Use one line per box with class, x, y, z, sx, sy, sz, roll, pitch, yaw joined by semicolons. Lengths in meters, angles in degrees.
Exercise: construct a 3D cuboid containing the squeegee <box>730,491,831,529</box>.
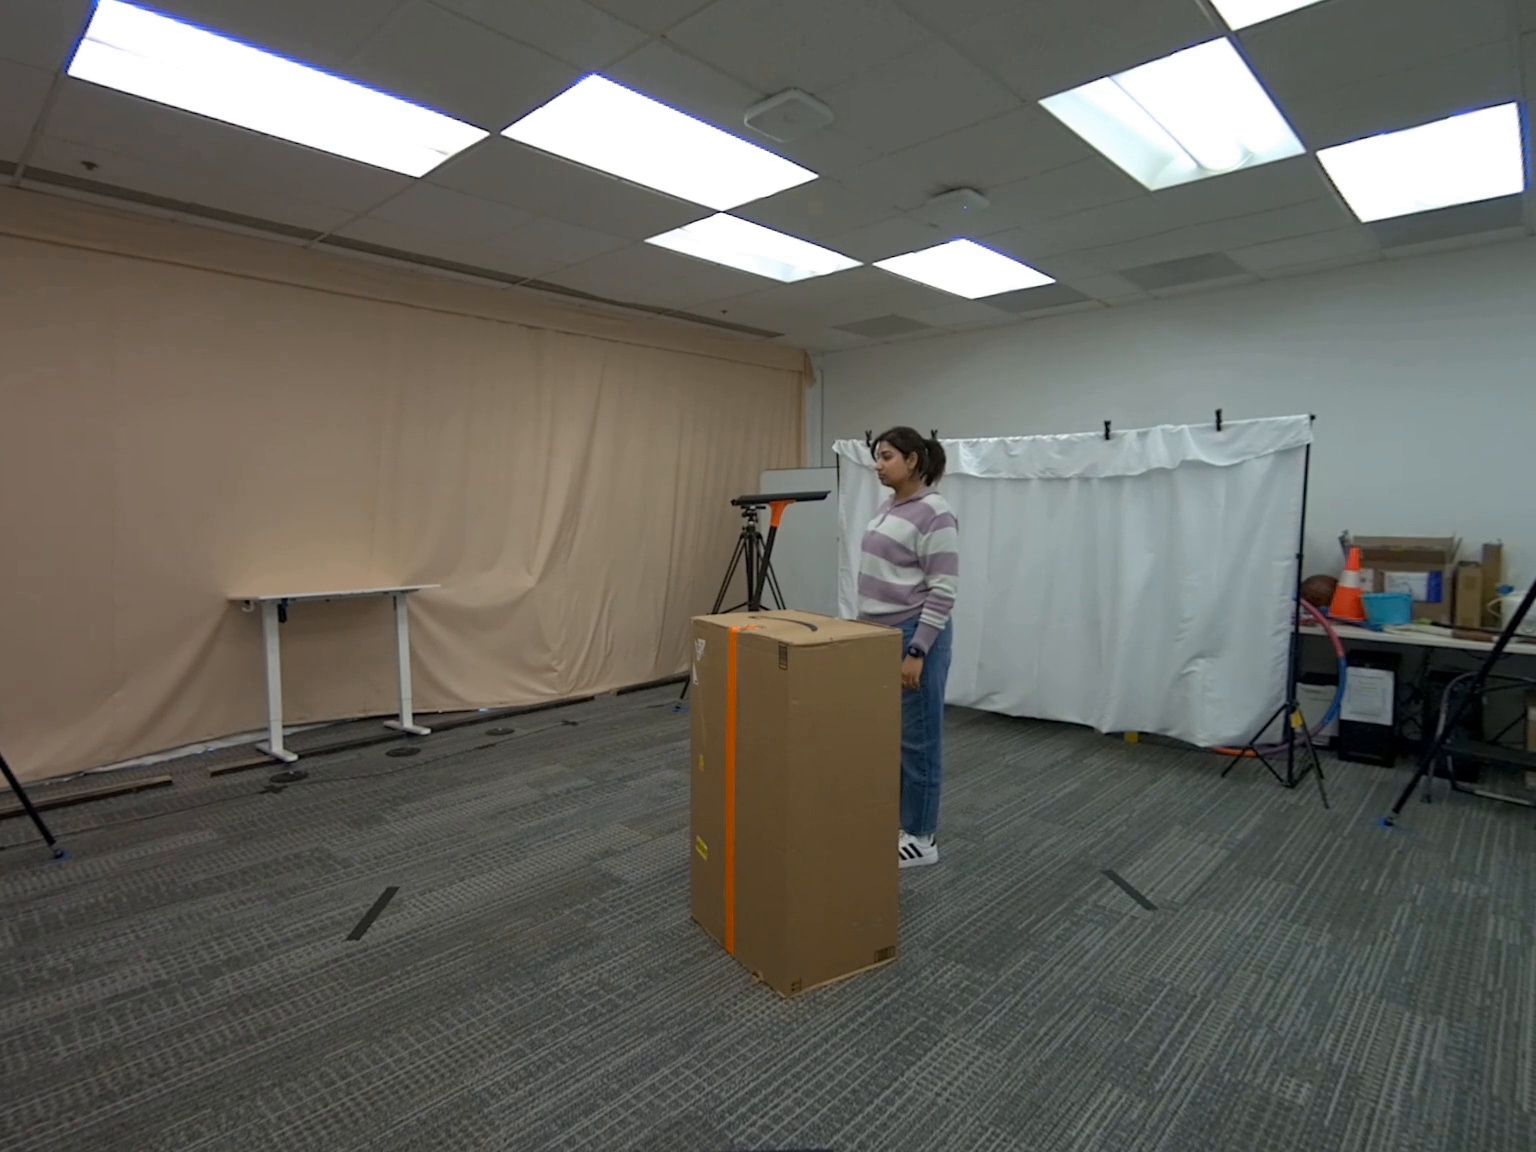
squeegee;-0.124;0.406;3.073;0.424;1.527;0.055;-6;30;-43
